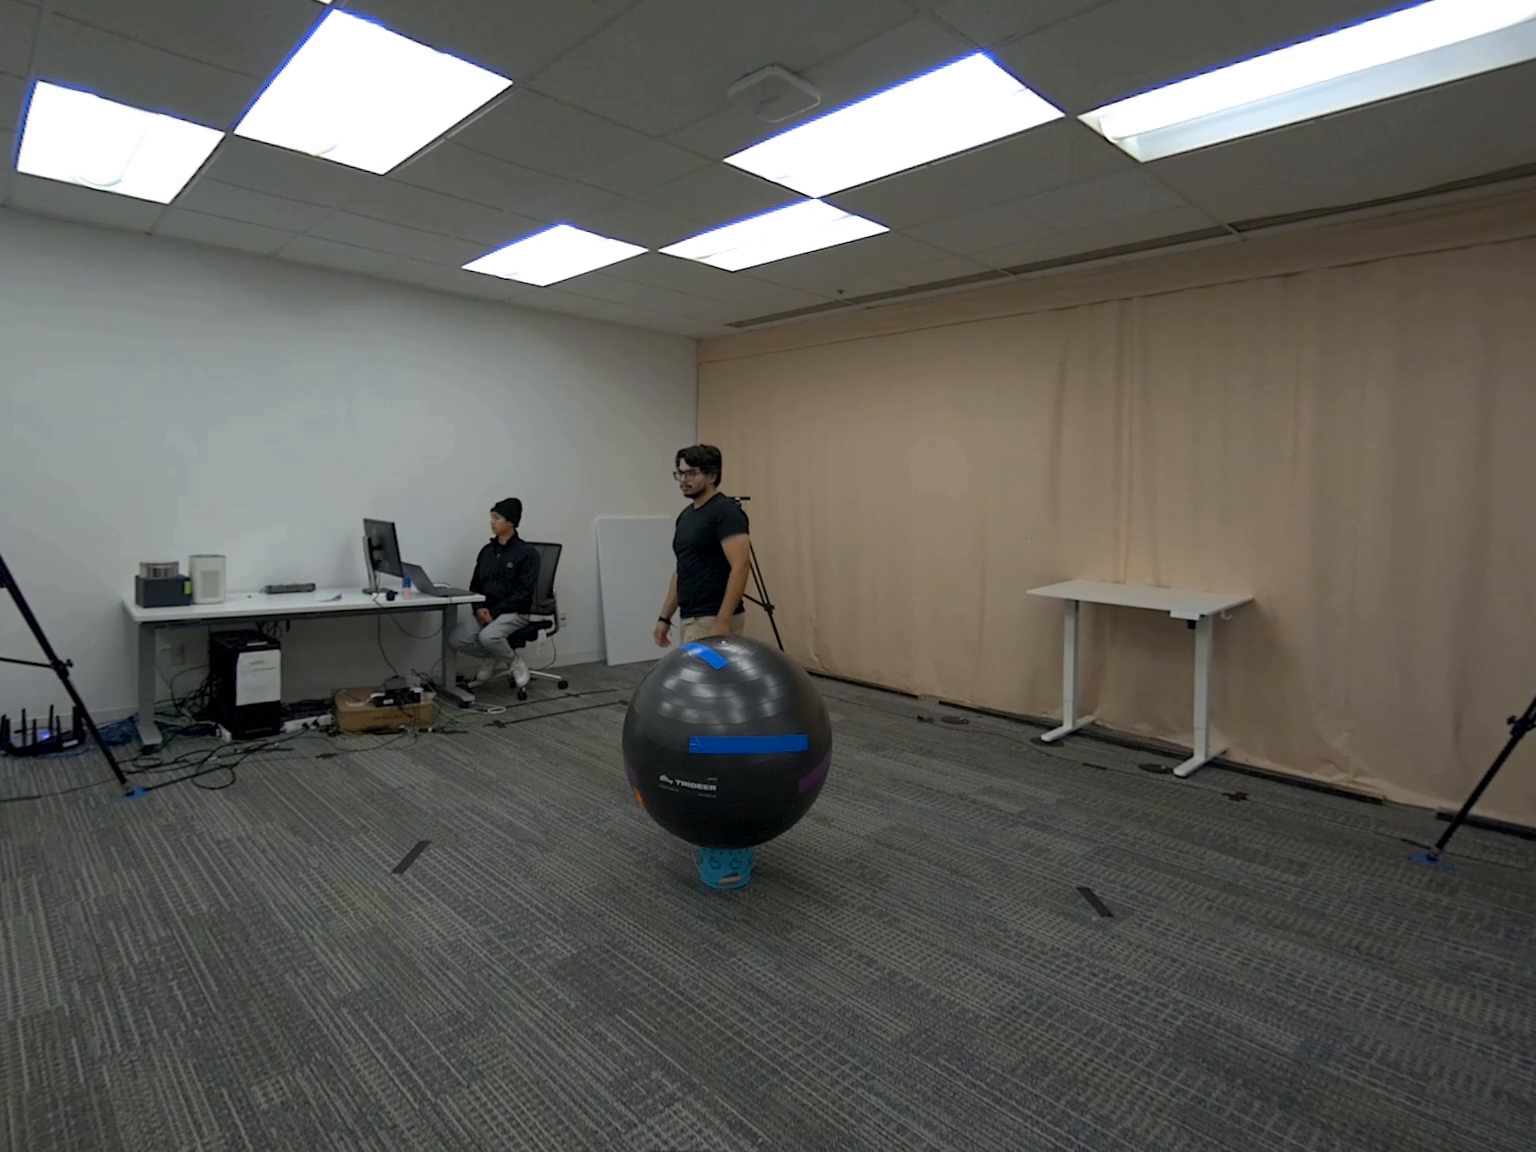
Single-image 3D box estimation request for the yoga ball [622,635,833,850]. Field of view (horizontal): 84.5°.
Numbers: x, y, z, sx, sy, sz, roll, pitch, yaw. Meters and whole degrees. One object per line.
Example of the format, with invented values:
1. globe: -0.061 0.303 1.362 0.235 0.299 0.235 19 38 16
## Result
1. yoga ball: -0.153 0.600 3.051 0.757 0.756 0.760 1 4 -1
